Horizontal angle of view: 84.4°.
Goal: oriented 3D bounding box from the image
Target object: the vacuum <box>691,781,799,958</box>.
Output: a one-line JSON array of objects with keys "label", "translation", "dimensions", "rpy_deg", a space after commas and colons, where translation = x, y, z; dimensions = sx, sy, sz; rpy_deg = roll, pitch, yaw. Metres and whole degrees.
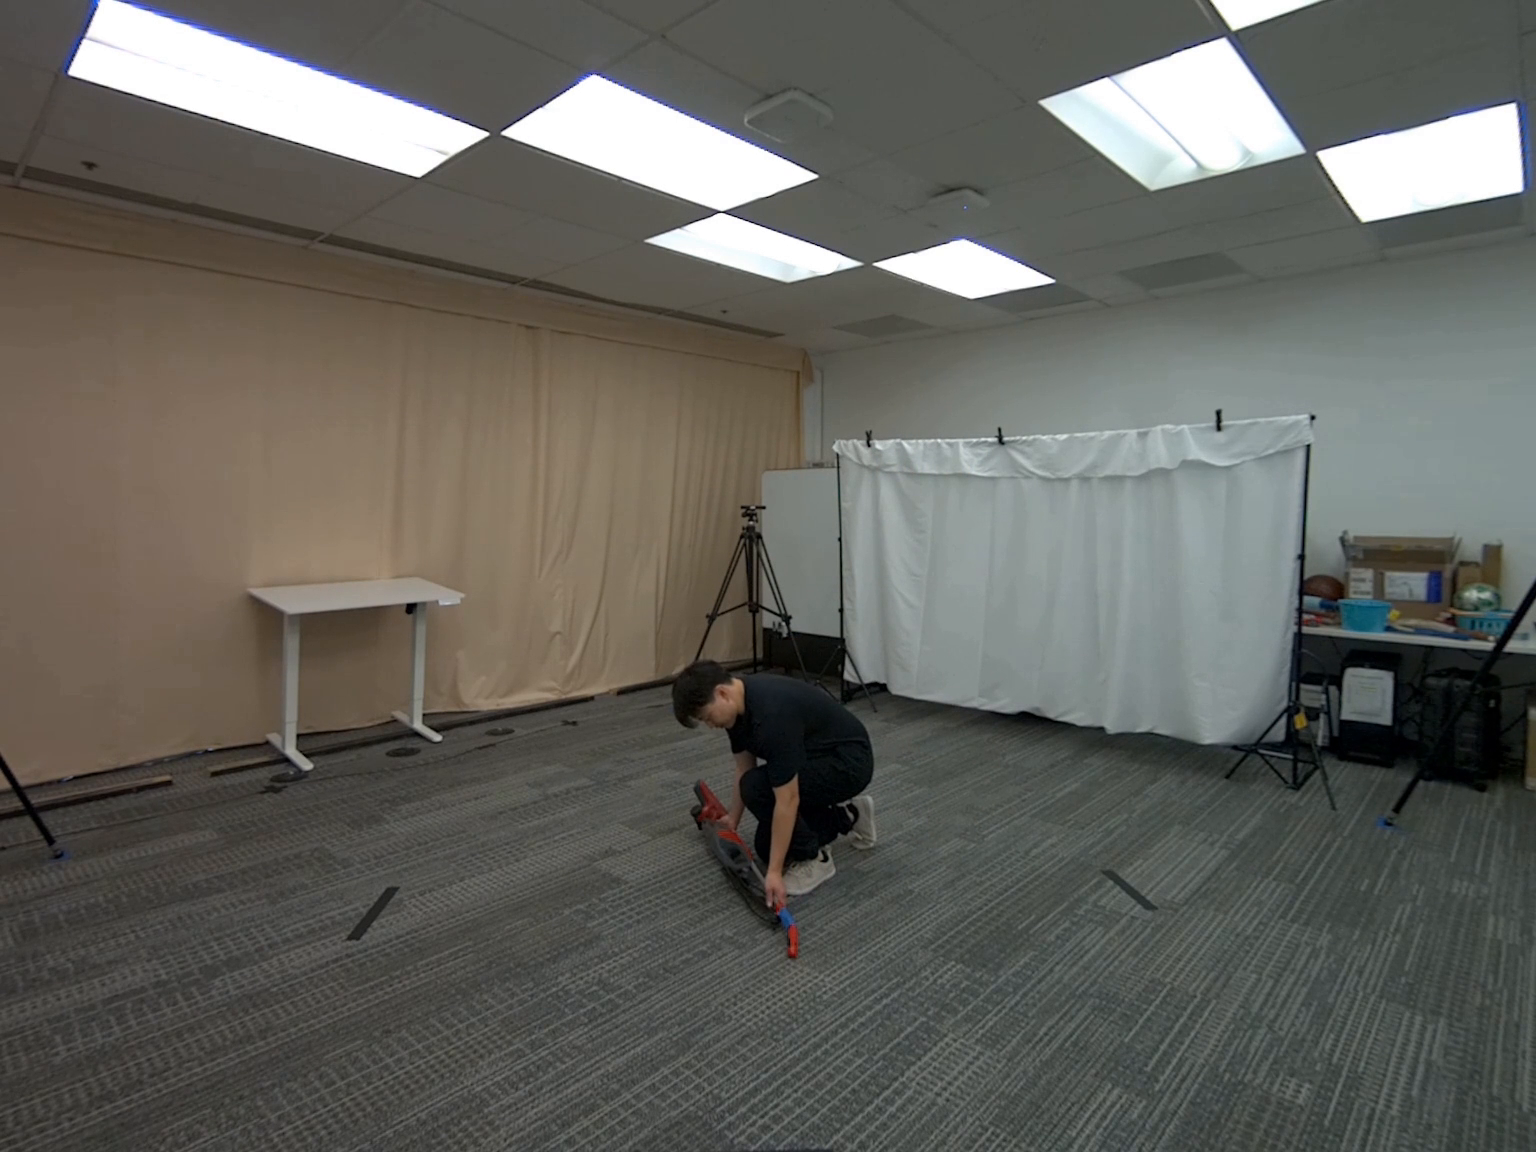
[{"label": "vacuum", "translation": [-0.086, 1.077, 3.101], "dimensions": [0.143, 0.248, 1.072], "rpy_deg": [-39, 18, -9]}]
